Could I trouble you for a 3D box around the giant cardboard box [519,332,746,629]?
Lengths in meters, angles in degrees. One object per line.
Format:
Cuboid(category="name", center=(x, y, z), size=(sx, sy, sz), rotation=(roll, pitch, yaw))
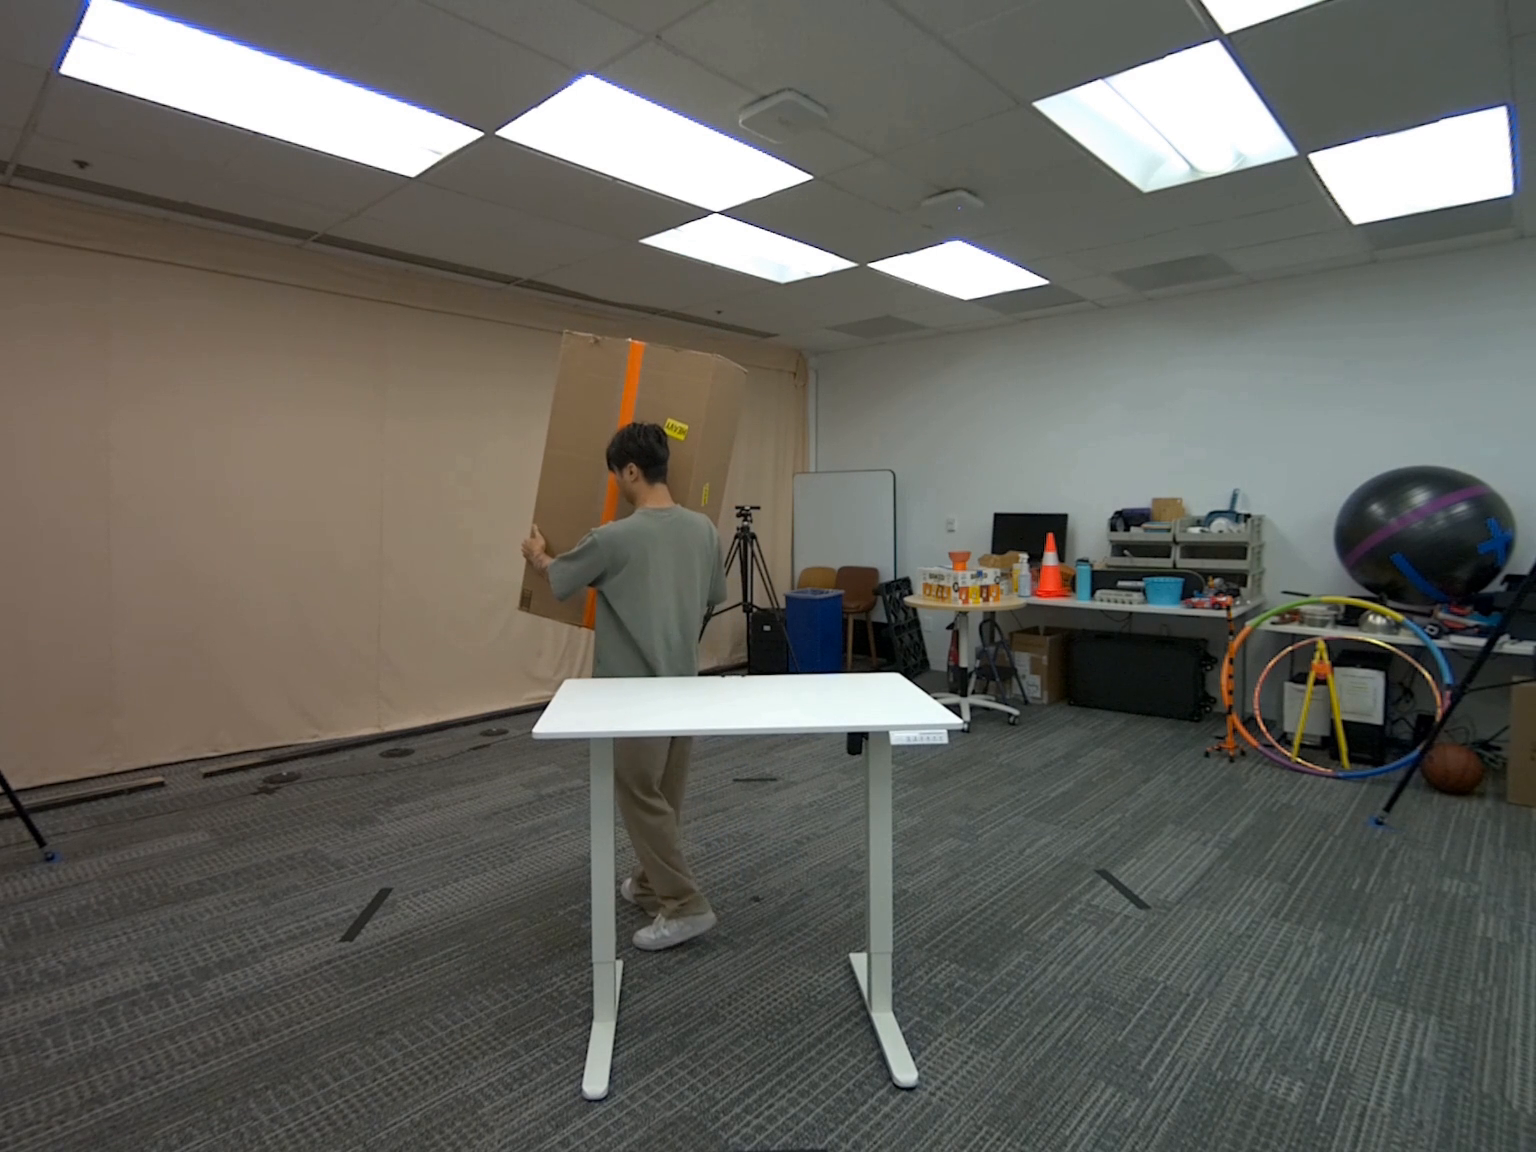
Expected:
Cuboid(category="giant cardboard box", center=(-0.495, -0.319, 3.133), size=(0.588, 1.022, 0.420), rotation=(13, 7, 14))
